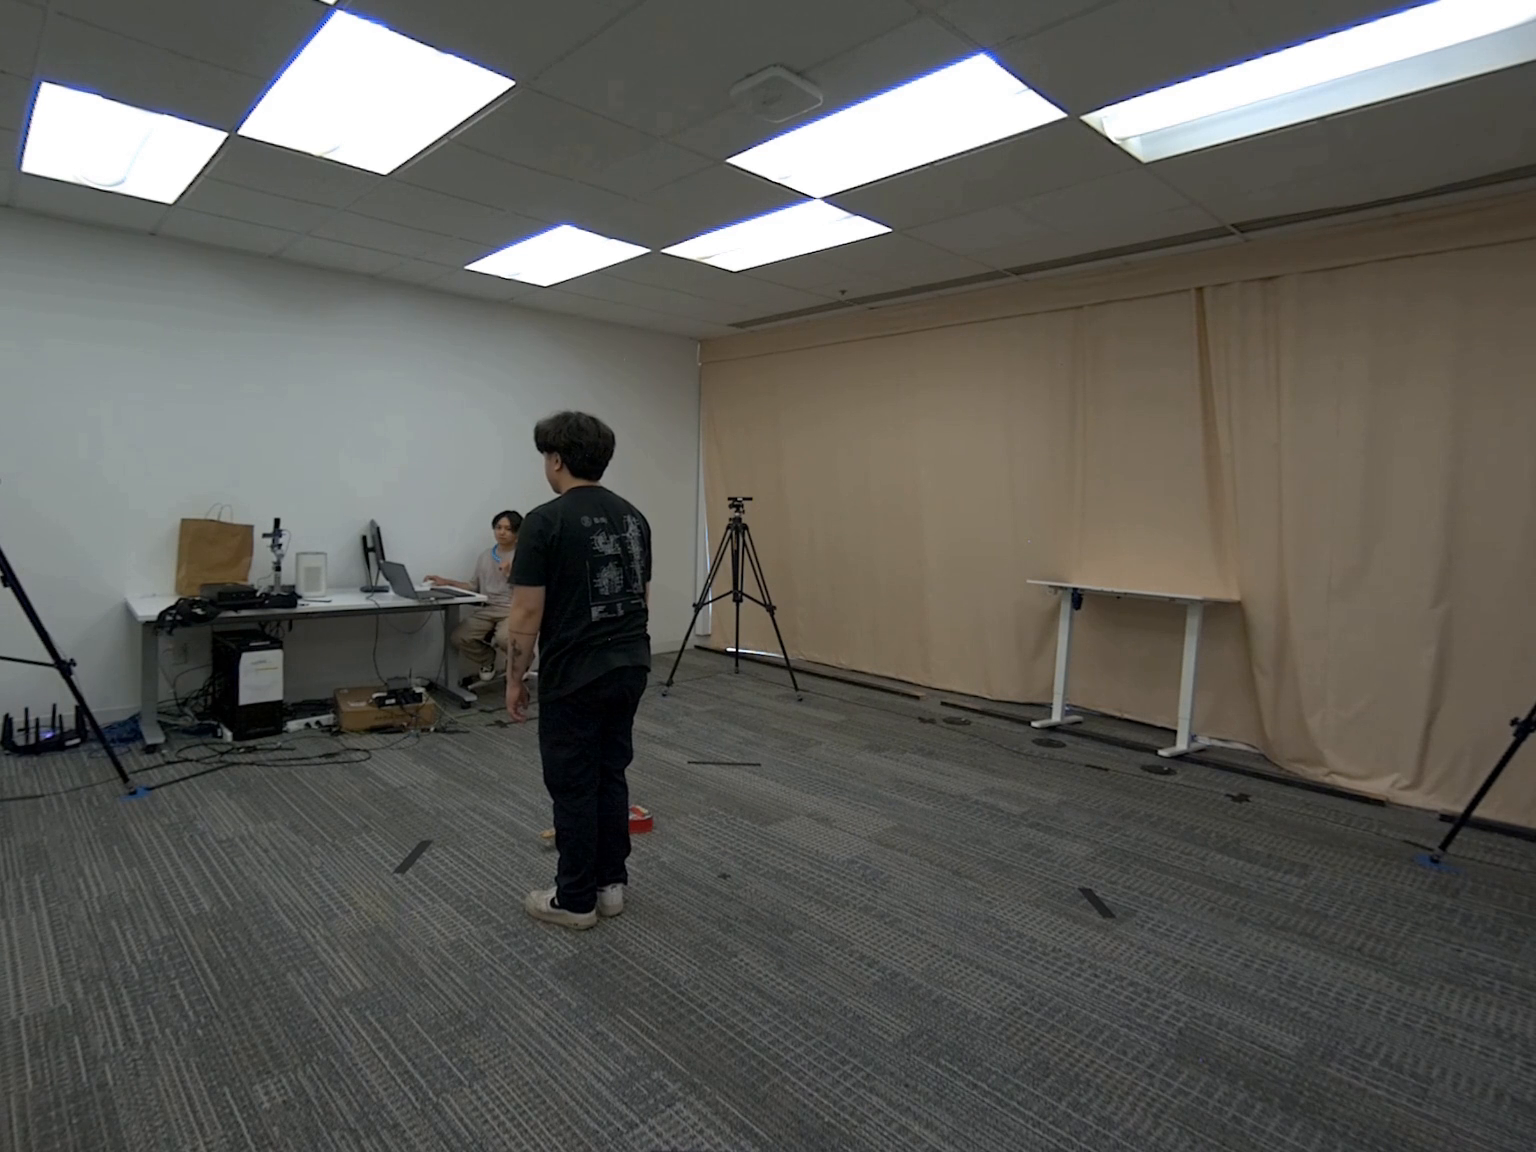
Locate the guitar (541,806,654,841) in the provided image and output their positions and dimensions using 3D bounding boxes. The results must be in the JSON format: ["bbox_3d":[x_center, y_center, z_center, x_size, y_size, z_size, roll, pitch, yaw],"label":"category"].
[{"bbox_3d":[-0.721,1.023,3.475,0.487,0.070,0.197,-2,6,-32],"label":"guitar"}]
